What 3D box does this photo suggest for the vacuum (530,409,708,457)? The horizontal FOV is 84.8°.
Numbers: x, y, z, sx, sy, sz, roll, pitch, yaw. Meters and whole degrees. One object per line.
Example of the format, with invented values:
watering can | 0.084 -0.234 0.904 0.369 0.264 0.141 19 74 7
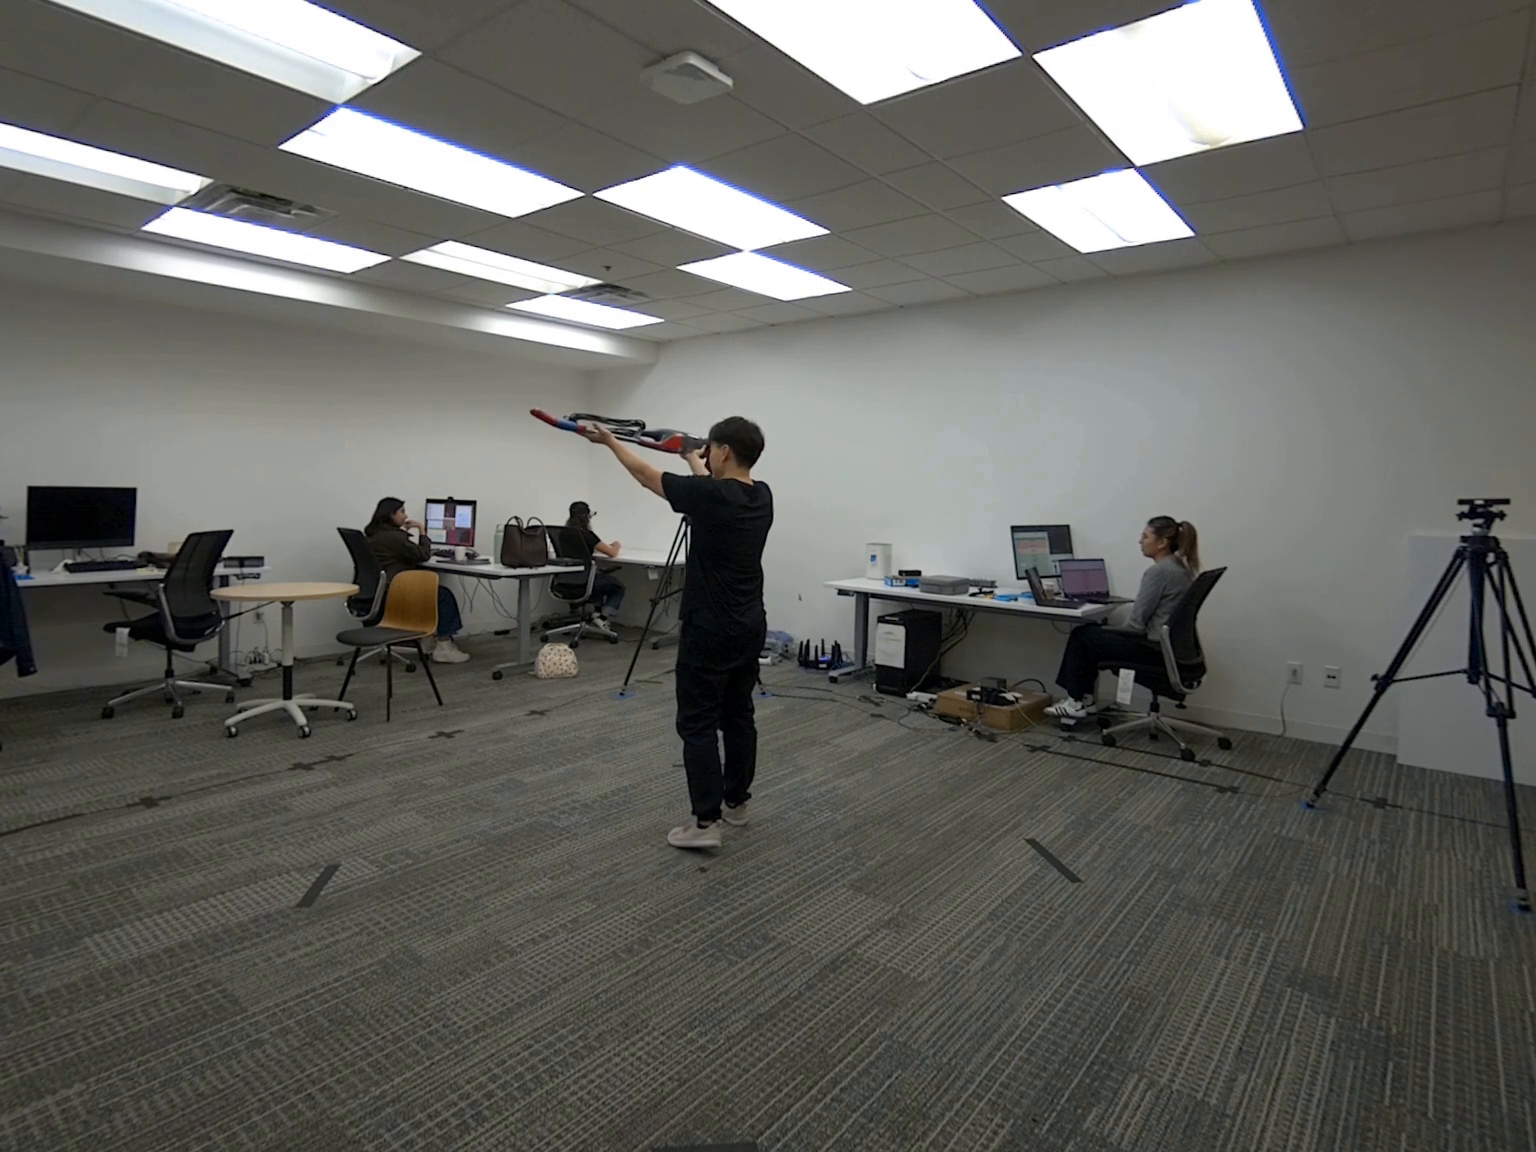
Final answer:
vacuum | -0.586 -0.615 3.650 0.254 0.148 1.013 -38 -27 32
